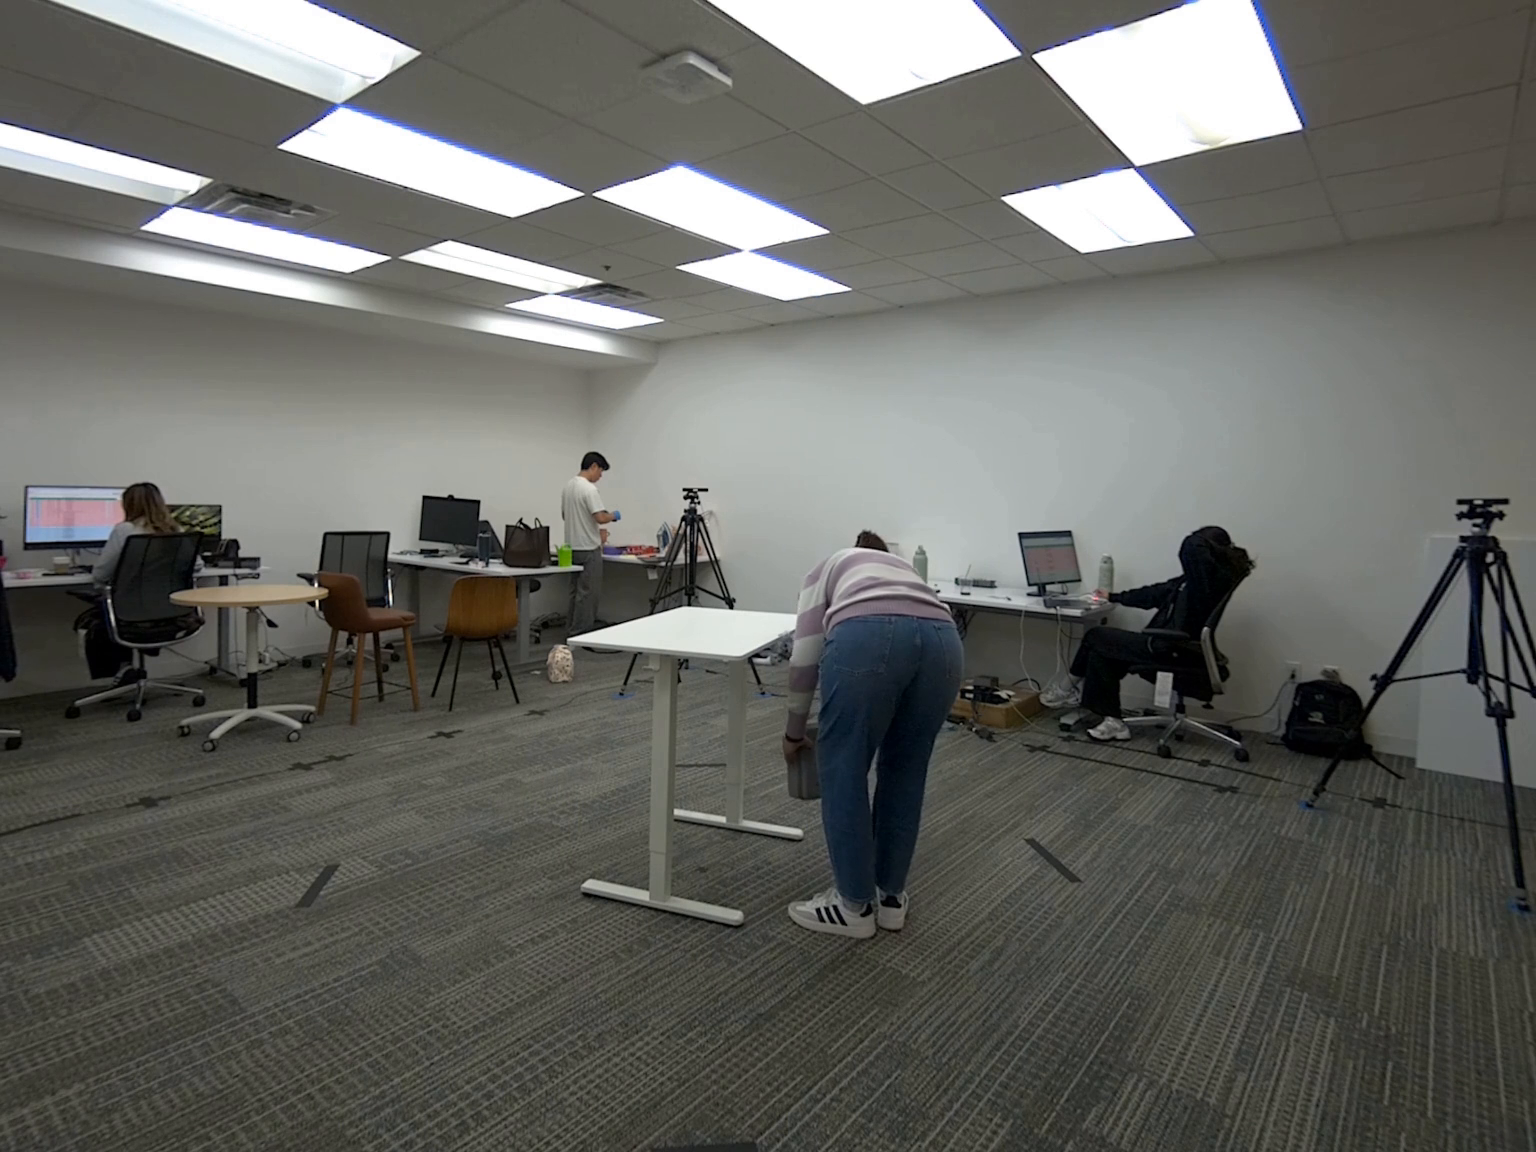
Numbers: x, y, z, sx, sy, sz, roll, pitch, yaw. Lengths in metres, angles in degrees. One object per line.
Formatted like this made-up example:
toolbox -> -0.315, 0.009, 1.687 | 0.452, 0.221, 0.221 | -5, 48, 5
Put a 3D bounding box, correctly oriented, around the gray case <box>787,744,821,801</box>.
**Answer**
gray case -> 0.175, 0.643, 3.028 | 0.248, 0.263, 0.107 | 6, -12, -42
